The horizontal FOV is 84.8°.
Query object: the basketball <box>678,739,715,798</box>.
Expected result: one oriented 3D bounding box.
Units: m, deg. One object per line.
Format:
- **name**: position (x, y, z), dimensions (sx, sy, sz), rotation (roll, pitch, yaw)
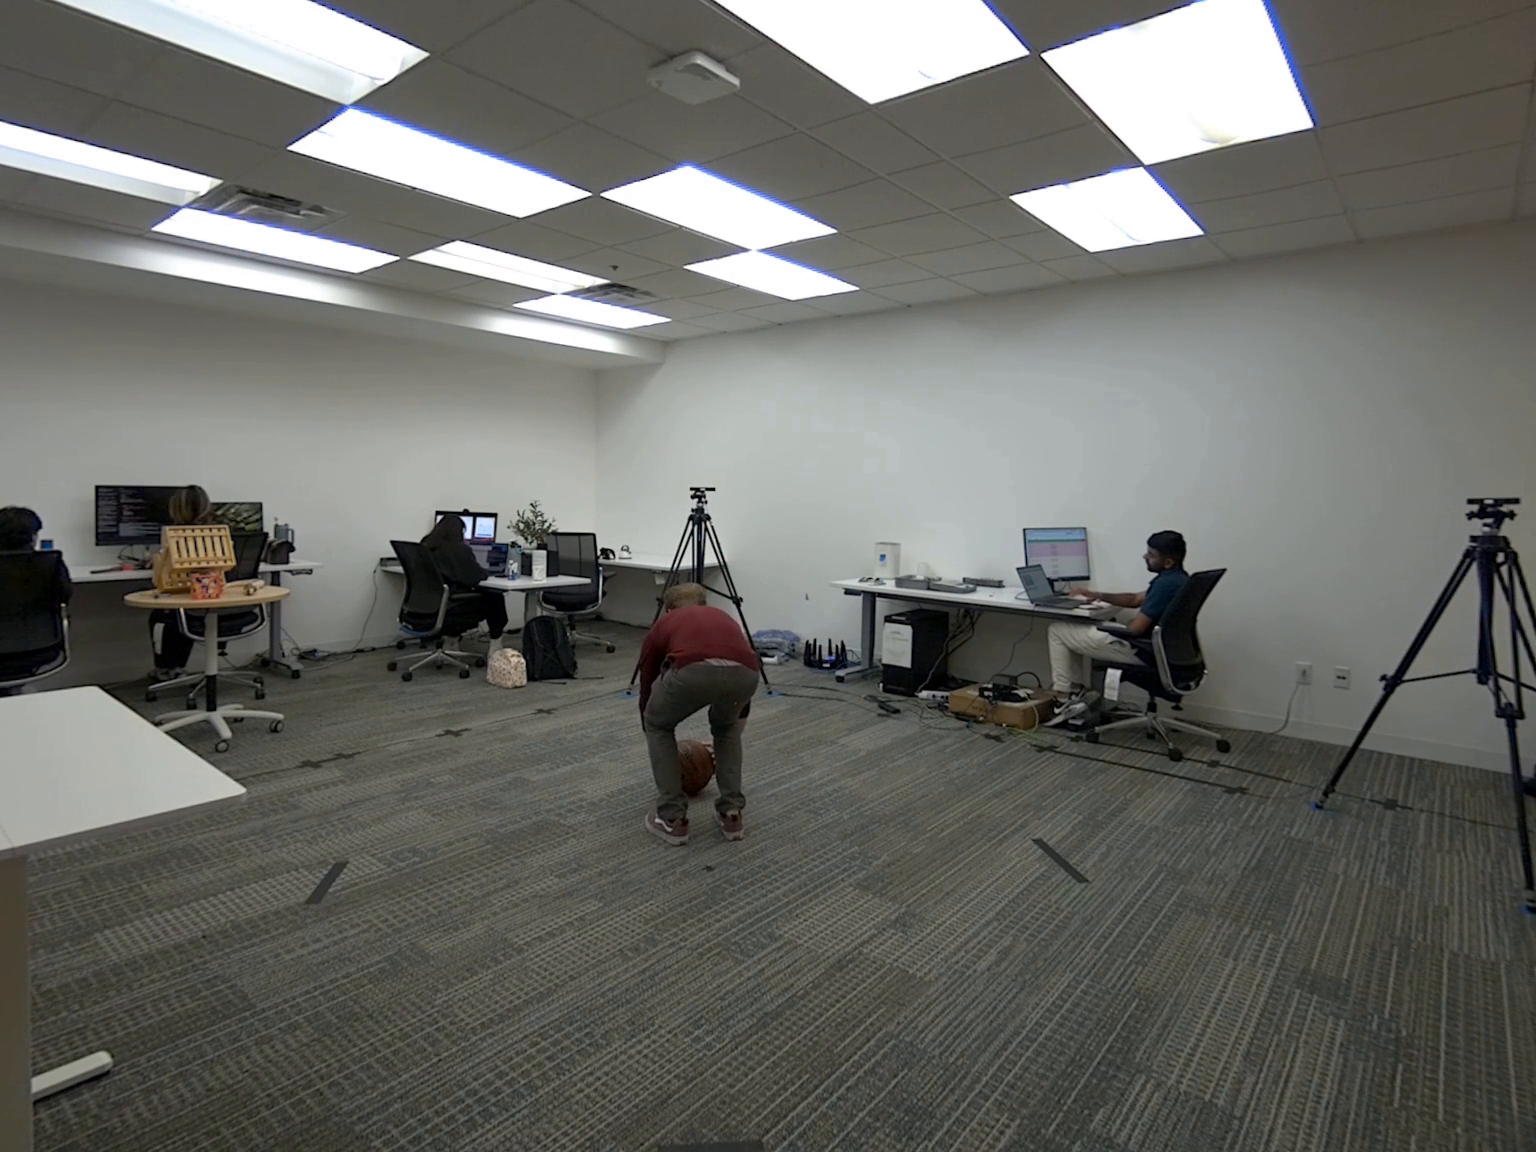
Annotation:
- **basketball**: position (-0.379, 0.859, 3.897), dimensions (0.235, 0.235, 0.237), rotation (1, 4, -2)
